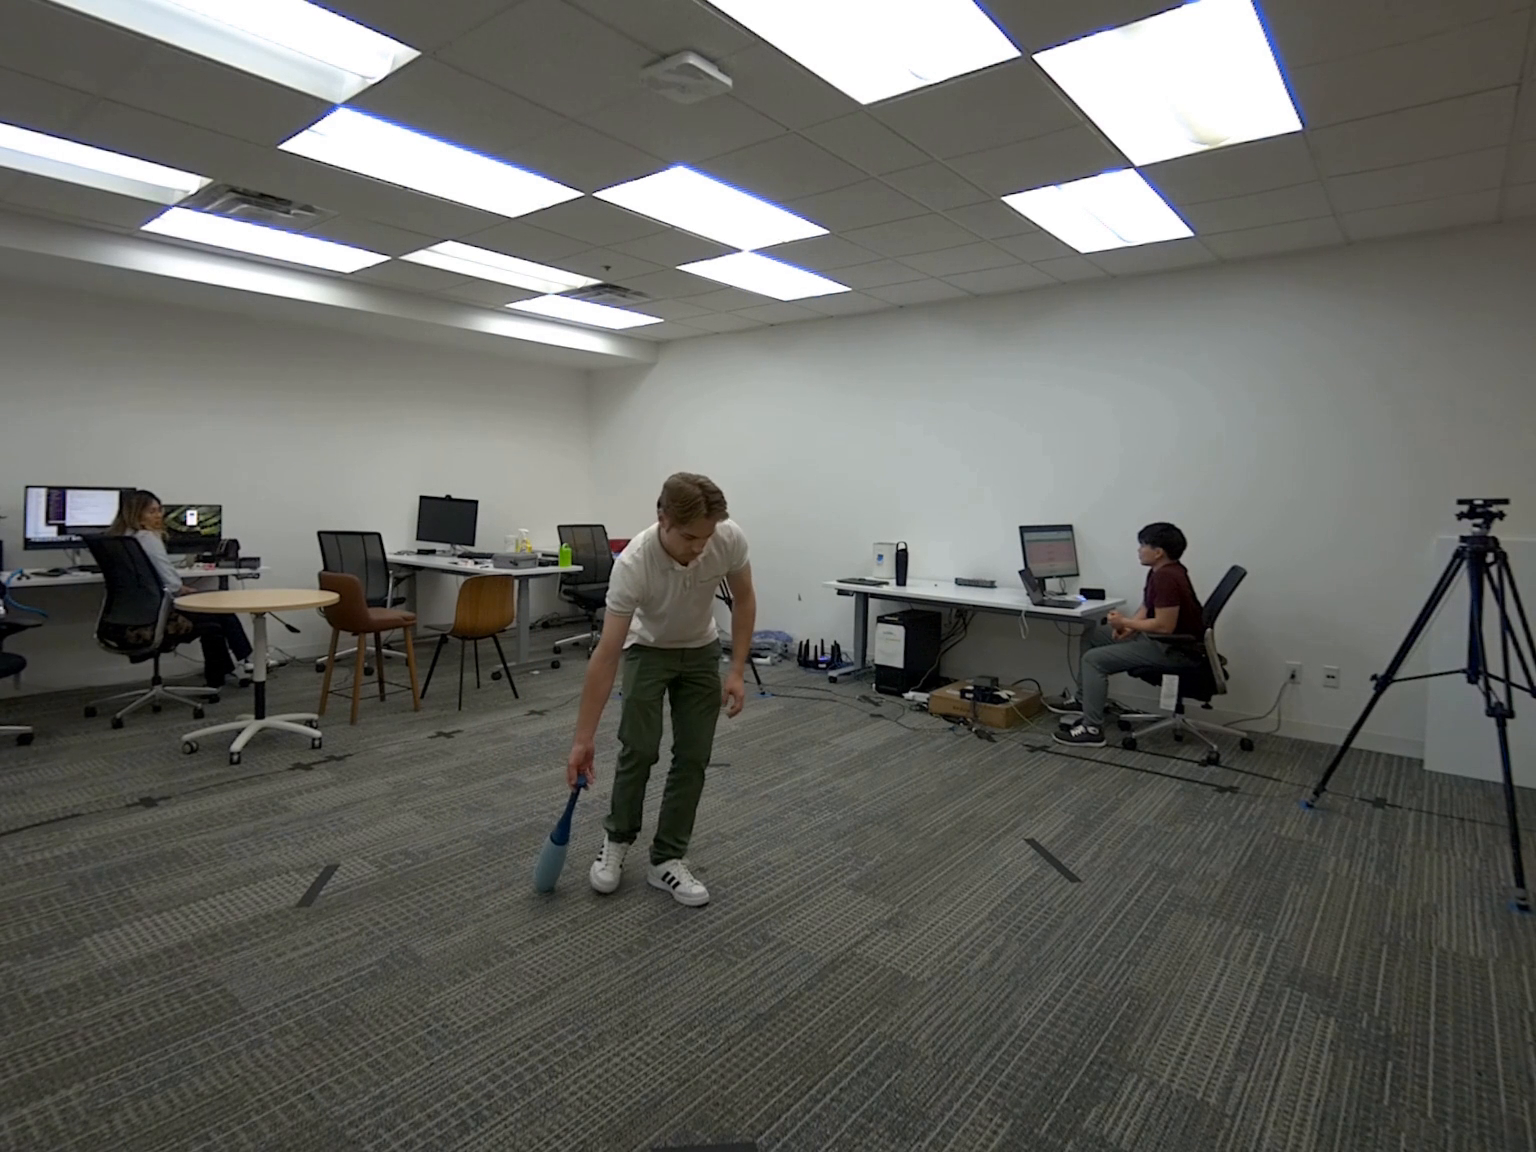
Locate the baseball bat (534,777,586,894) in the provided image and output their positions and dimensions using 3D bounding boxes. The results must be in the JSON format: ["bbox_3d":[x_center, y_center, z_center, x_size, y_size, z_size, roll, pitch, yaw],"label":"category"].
[{"bbox_3d":[-0.689,0.852,2.805,0.088,0.535,0.091,15,32,-11],"label":"baseball bat"}]
